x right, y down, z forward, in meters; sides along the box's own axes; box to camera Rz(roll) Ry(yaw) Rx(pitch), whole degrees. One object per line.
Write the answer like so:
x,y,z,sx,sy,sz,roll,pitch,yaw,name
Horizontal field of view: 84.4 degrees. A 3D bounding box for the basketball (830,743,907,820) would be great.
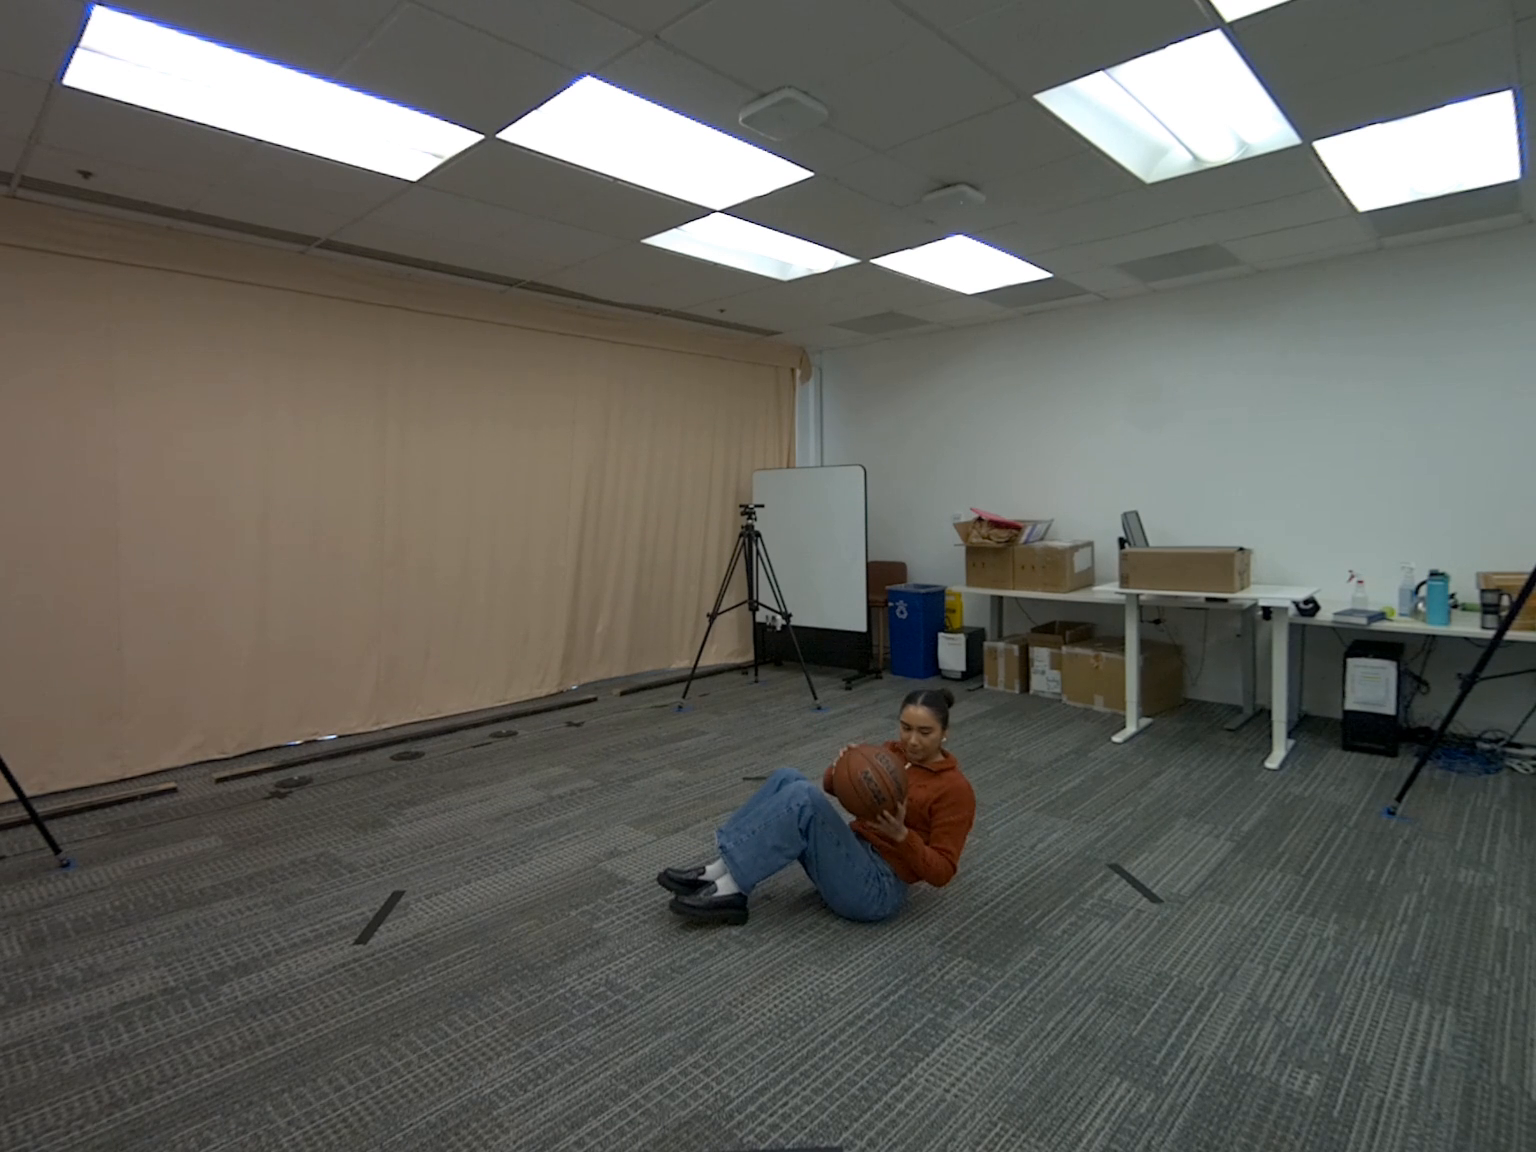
0.331,0.663,2.691,0.236,0.235,0.237,-1,4,-2,basketball
